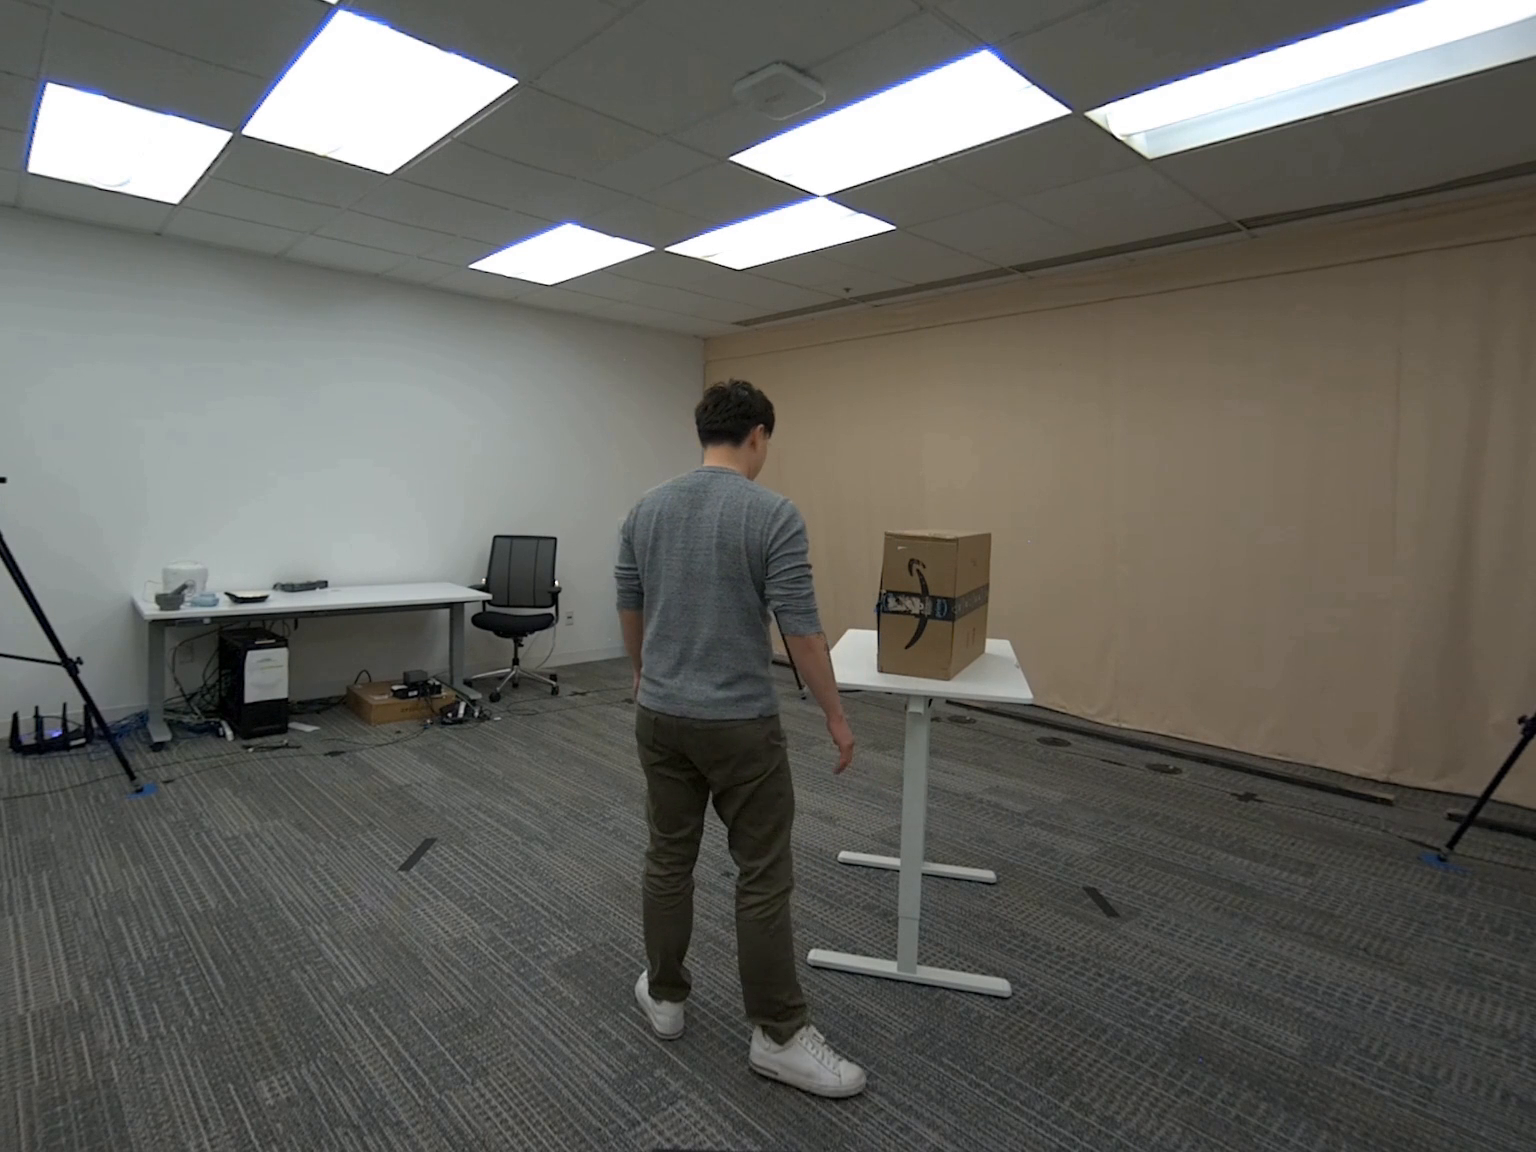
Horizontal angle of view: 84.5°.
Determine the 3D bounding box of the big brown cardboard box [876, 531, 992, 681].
[{"bbox_3d":[0.535,0.071,2.675,0.238,0.416,0.579,5,5,25],"label":"big brown cardboard box"}]
